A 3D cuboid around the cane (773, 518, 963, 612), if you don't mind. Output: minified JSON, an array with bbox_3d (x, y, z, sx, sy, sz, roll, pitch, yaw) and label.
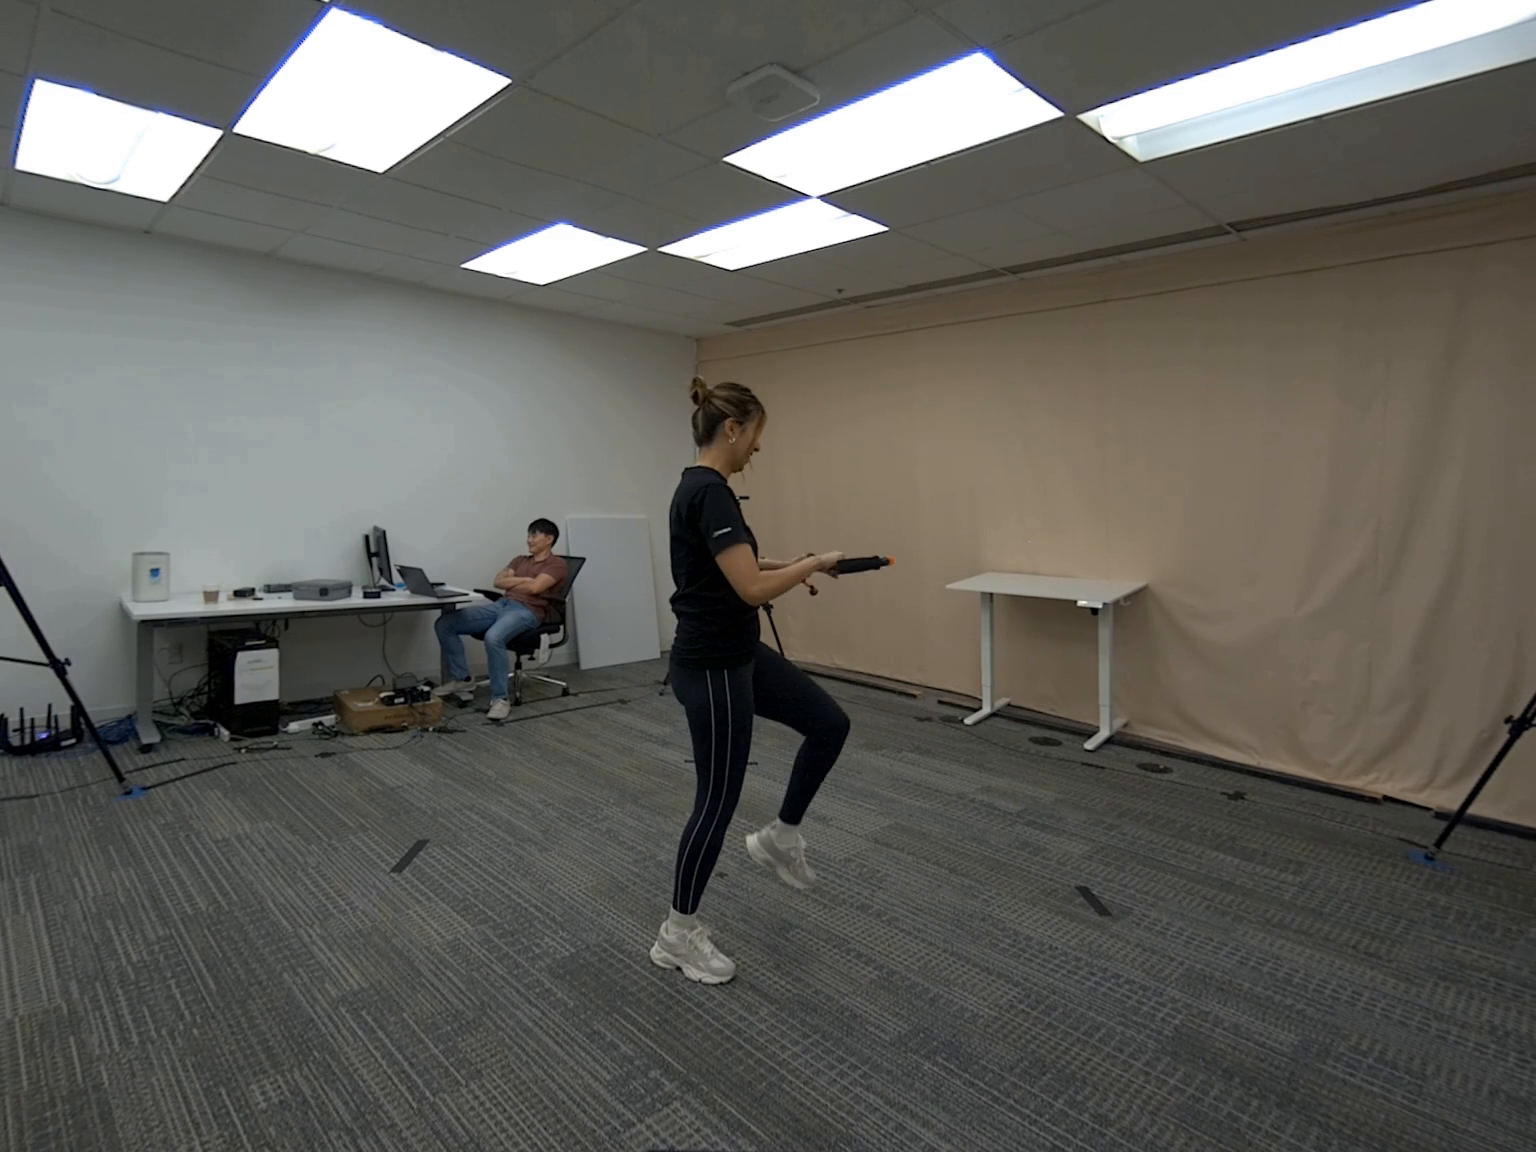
[{"bbox_3d":[0.232,-0.013,2.523,0.205,0.151,0.916,-20,2,-17],"label":"cane"}]
